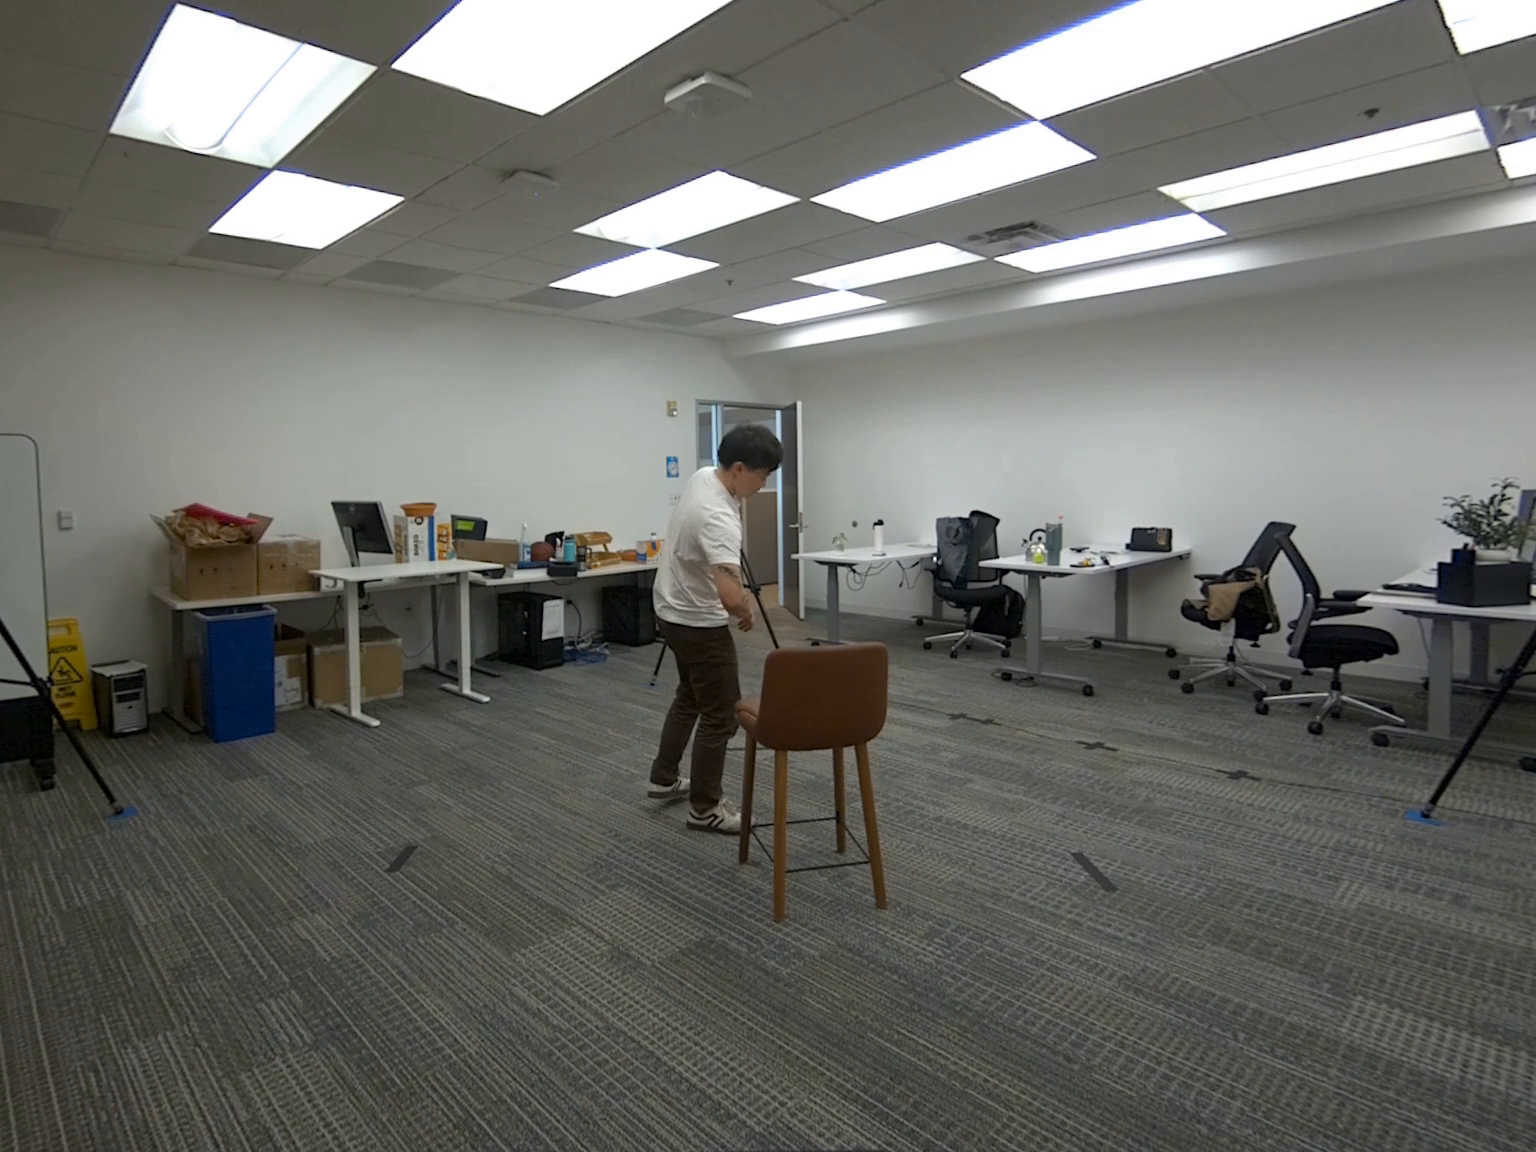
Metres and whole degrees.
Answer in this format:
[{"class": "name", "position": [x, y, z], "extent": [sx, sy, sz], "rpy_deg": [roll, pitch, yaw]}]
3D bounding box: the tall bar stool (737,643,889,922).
[{"class": "tall bar stool", "position": [0.144, 0.626, 2.915], "extent": [0.451, 0.886, 0.475], "rpy_deg": [-2, 5, -13]}]
